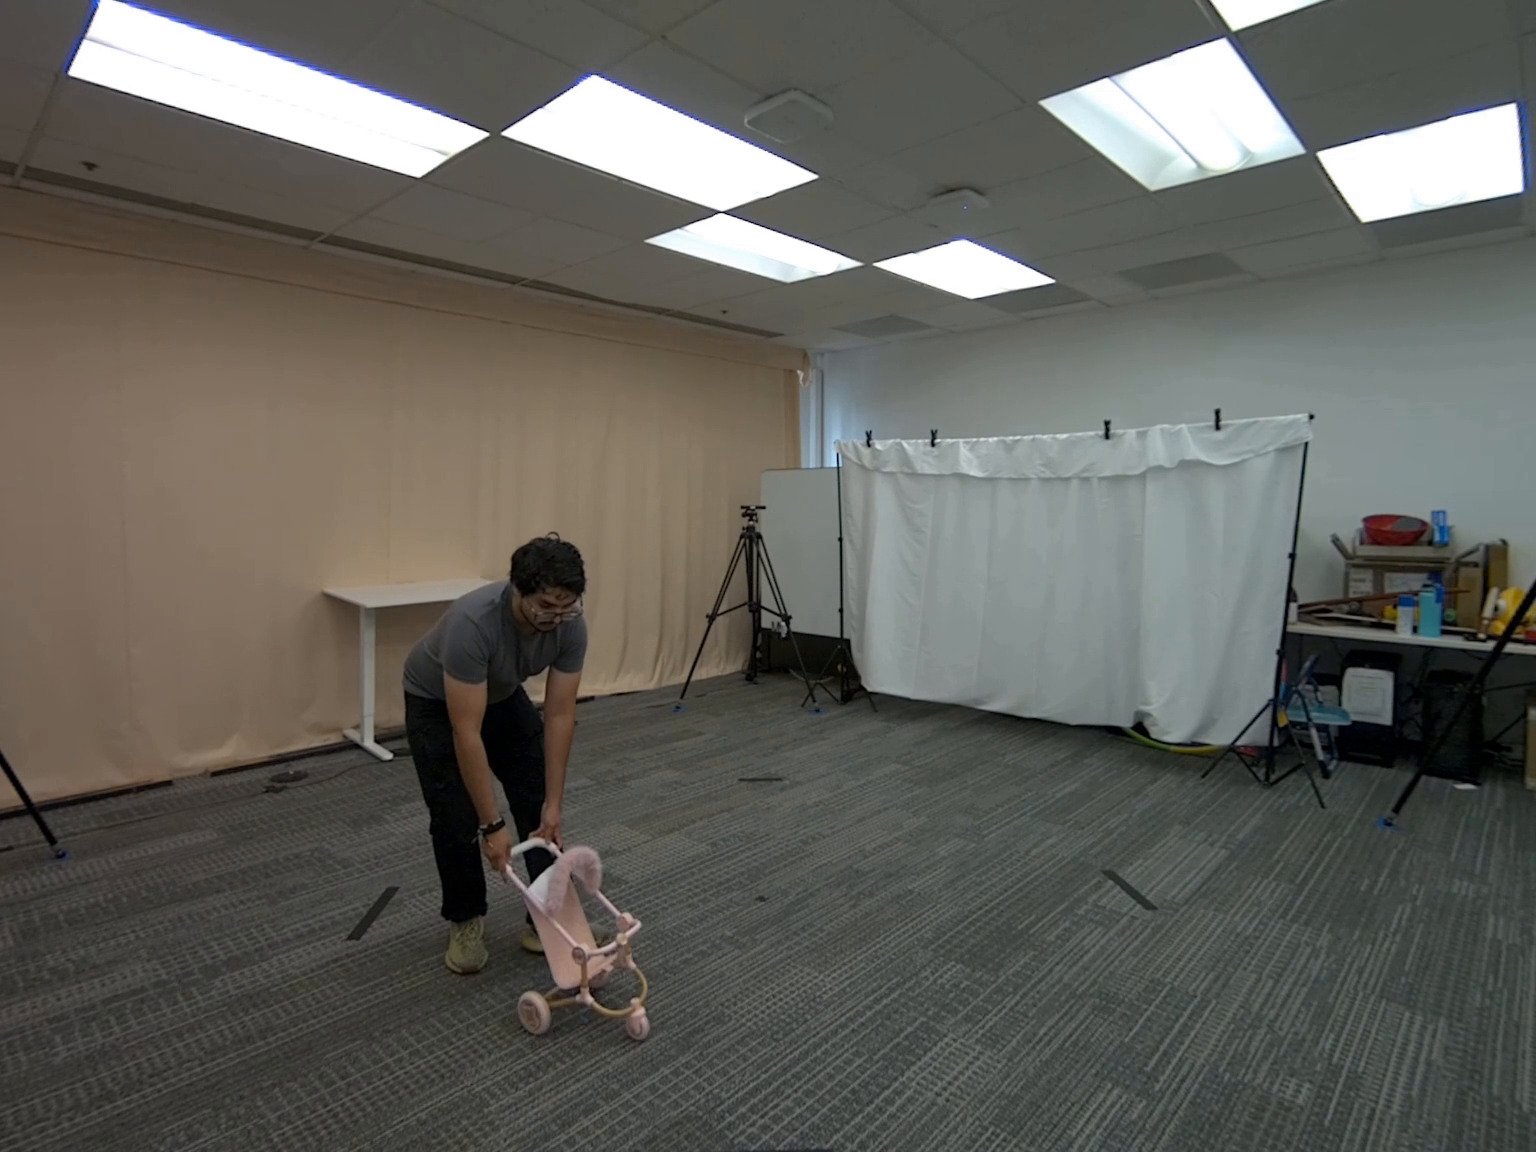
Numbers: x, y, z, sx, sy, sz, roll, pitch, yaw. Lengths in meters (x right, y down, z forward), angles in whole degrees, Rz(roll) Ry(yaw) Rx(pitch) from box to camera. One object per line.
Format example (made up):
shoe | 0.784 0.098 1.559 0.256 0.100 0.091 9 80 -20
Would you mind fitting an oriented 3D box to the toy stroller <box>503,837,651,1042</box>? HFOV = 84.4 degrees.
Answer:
toy stroller | -0.503 0.984 2.284 0.349 0.538 0.273 -17 -8 34
